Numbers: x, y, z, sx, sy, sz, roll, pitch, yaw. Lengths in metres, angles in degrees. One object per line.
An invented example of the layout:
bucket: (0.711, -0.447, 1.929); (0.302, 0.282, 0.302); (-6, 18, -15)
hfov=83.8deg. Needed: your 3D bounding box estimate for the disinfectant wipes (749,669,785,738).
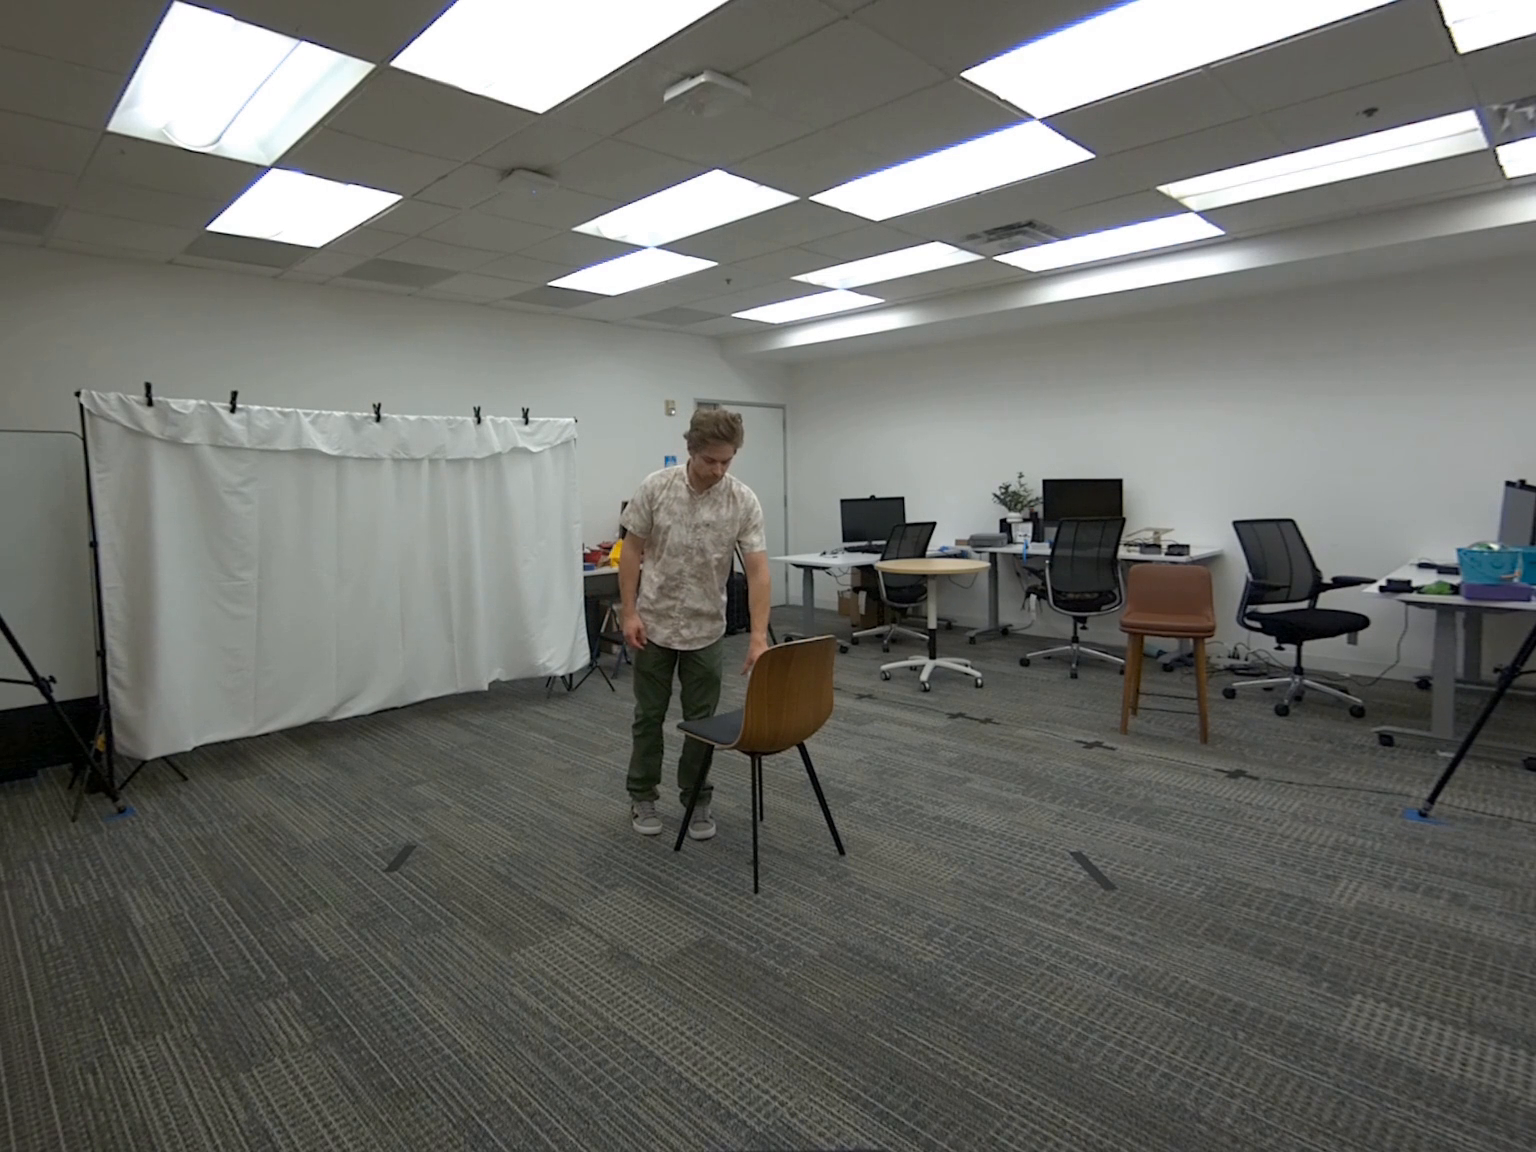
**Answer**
disinfectant wipes: (-0.008, 0.462, 3.136); (0.118, 0.216, 0.119); (1, 8, -2)
